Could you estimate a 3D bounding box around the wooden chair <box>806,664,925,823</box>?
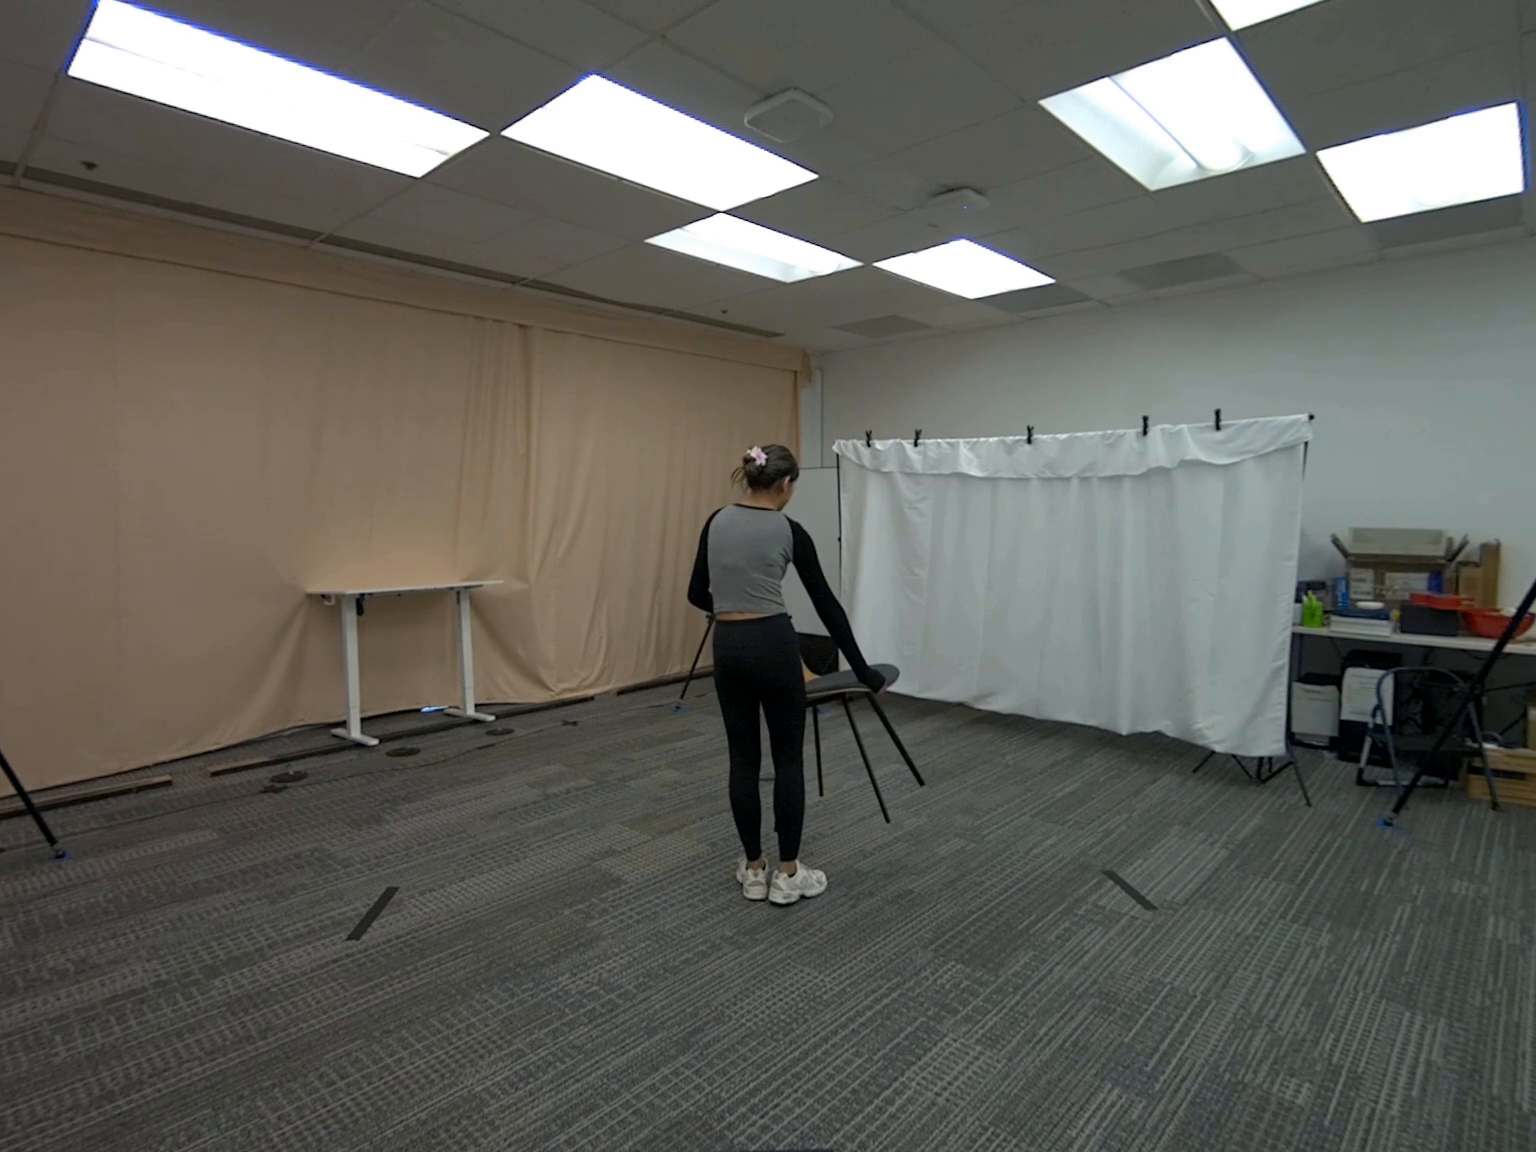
[{"bbox_3d":[0.233,0.470,3.228,0.533,0.882,0.466,-19,-6,27],"label":"wooden chair"}]
